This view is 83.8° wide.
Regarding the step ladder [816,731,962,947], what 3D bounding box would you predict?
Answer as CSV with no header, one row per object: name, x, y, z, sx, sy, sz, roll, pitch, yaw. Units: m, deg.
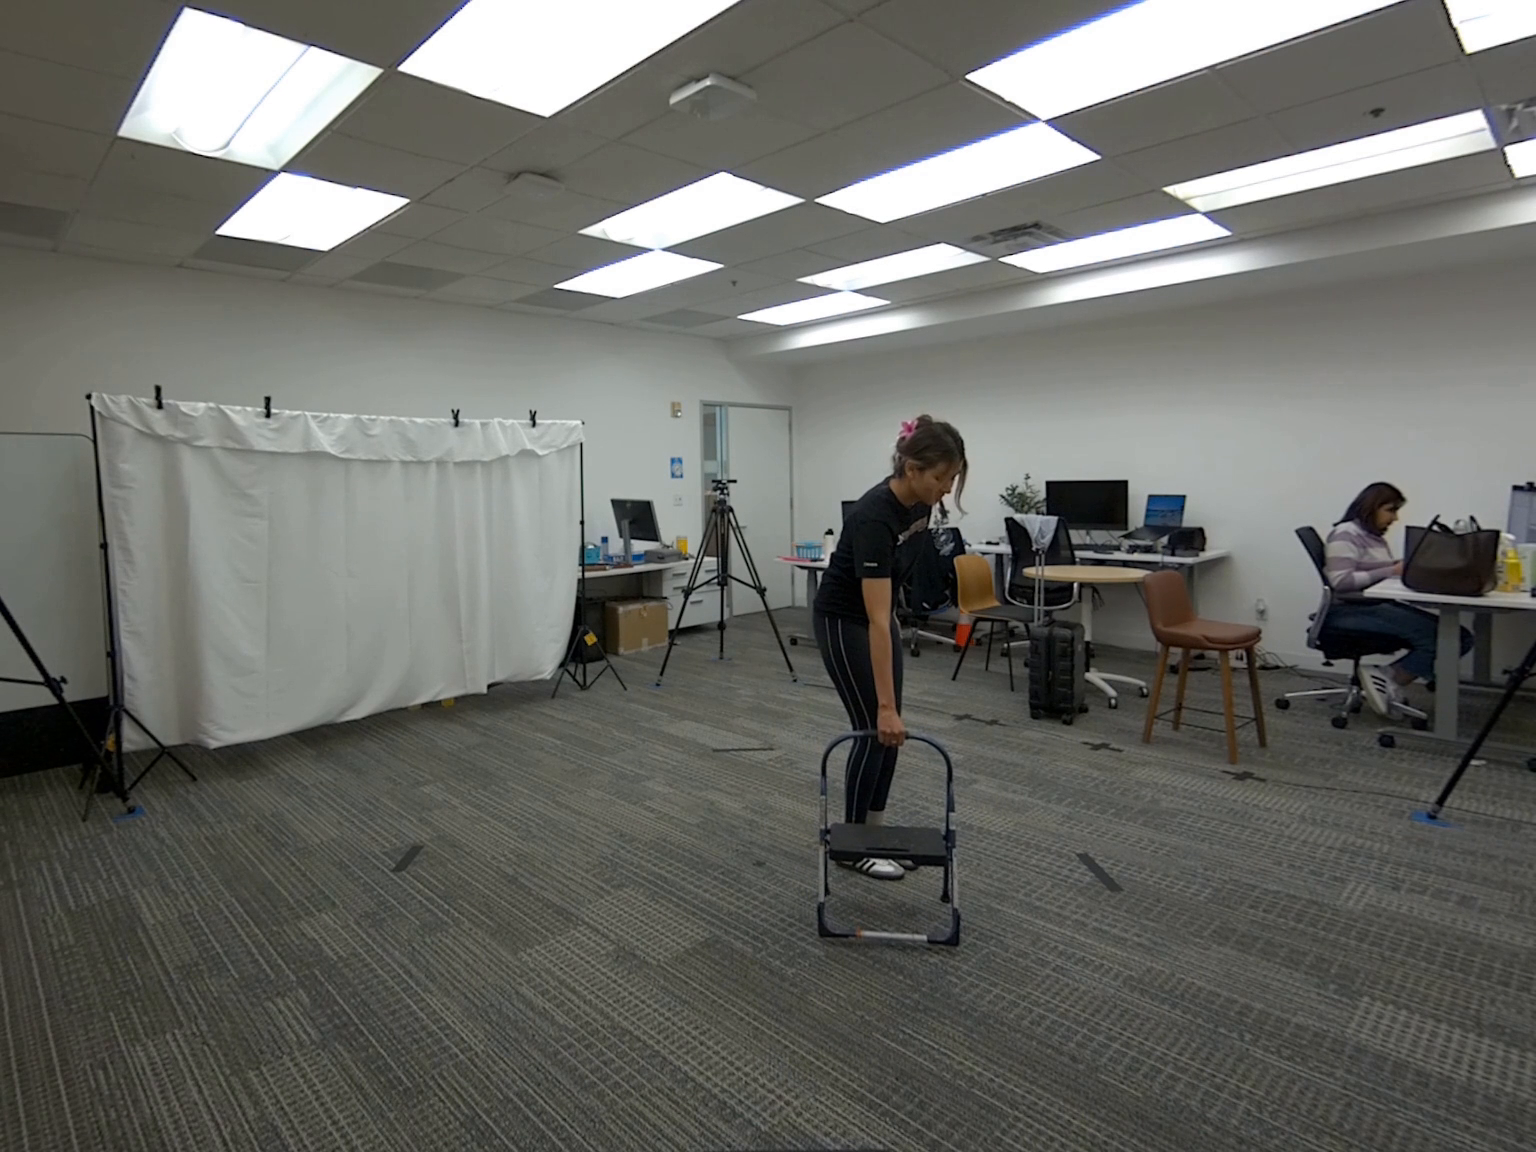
step ladder,0.374,0.780,2.691,0.434,0.606,0.347,0,0,7
